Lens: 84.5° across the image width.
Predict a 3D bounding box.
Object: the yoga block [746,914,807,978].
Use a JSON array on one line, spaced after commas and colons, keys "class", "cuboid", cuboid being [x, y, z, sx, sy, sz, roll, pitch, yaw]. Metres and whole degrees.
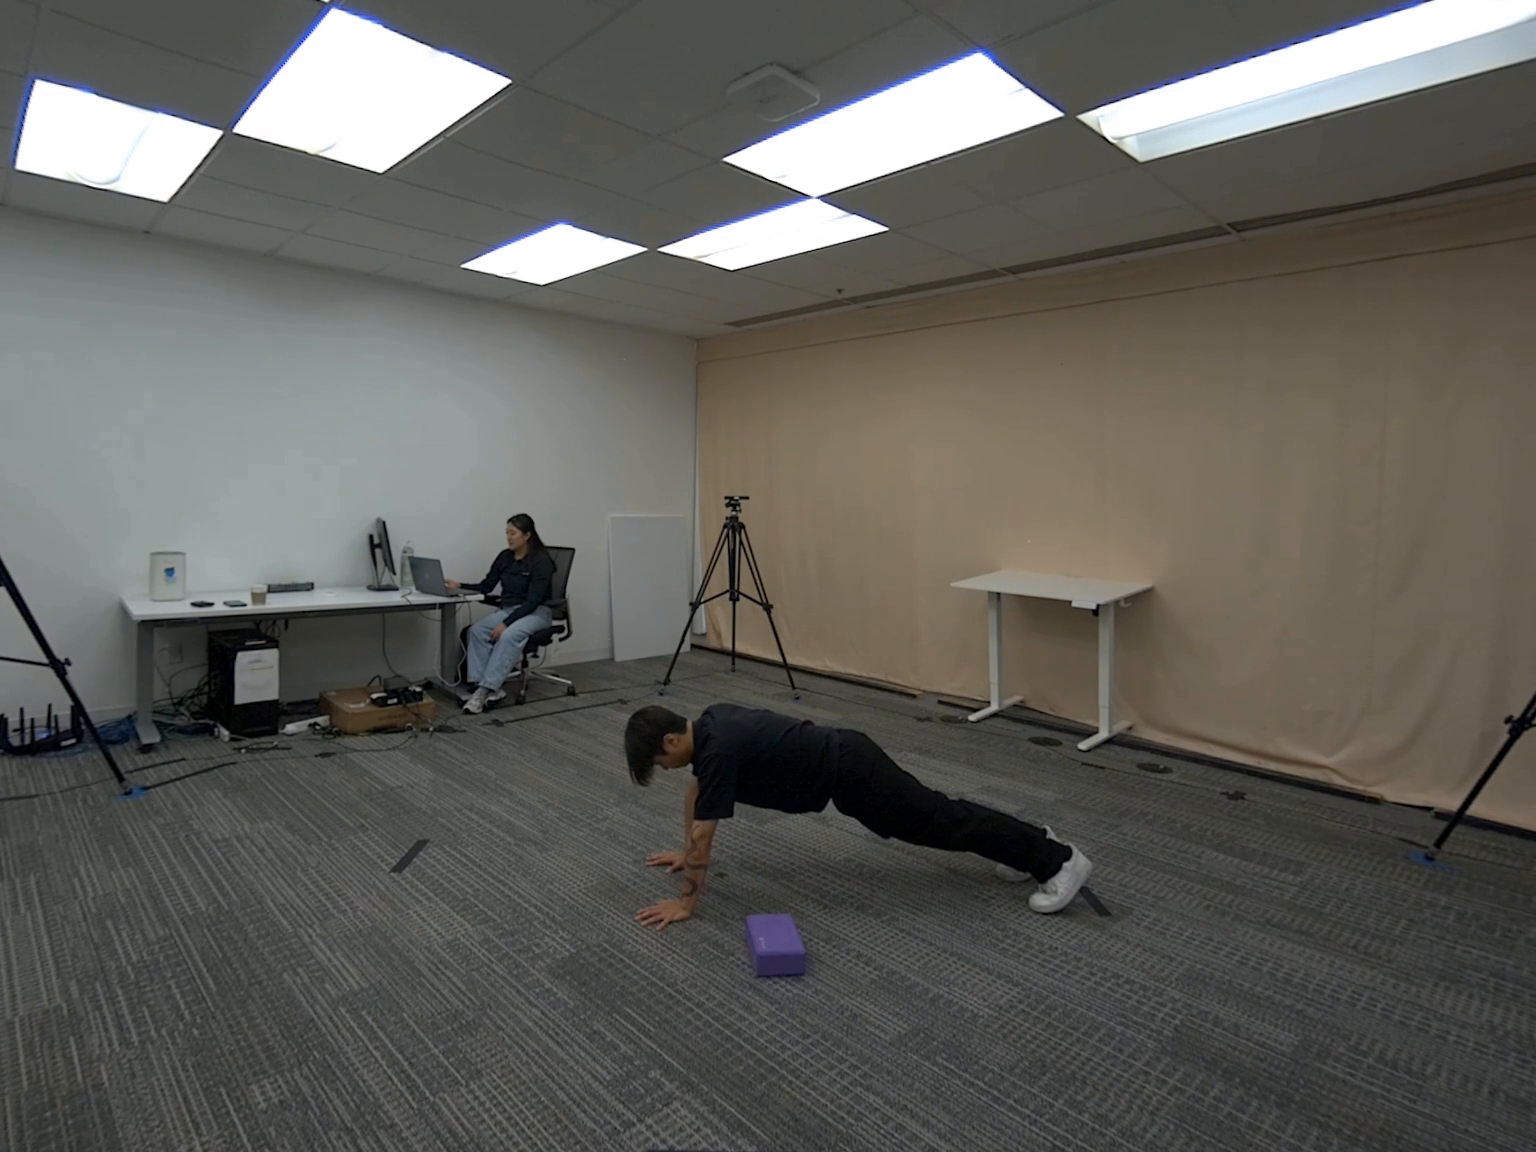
[{"class": "yoga block", "cuboid": [0.013, 1.117, 2.556, 0.148, 0.076, 0.231, 0, 4, -10]}]
